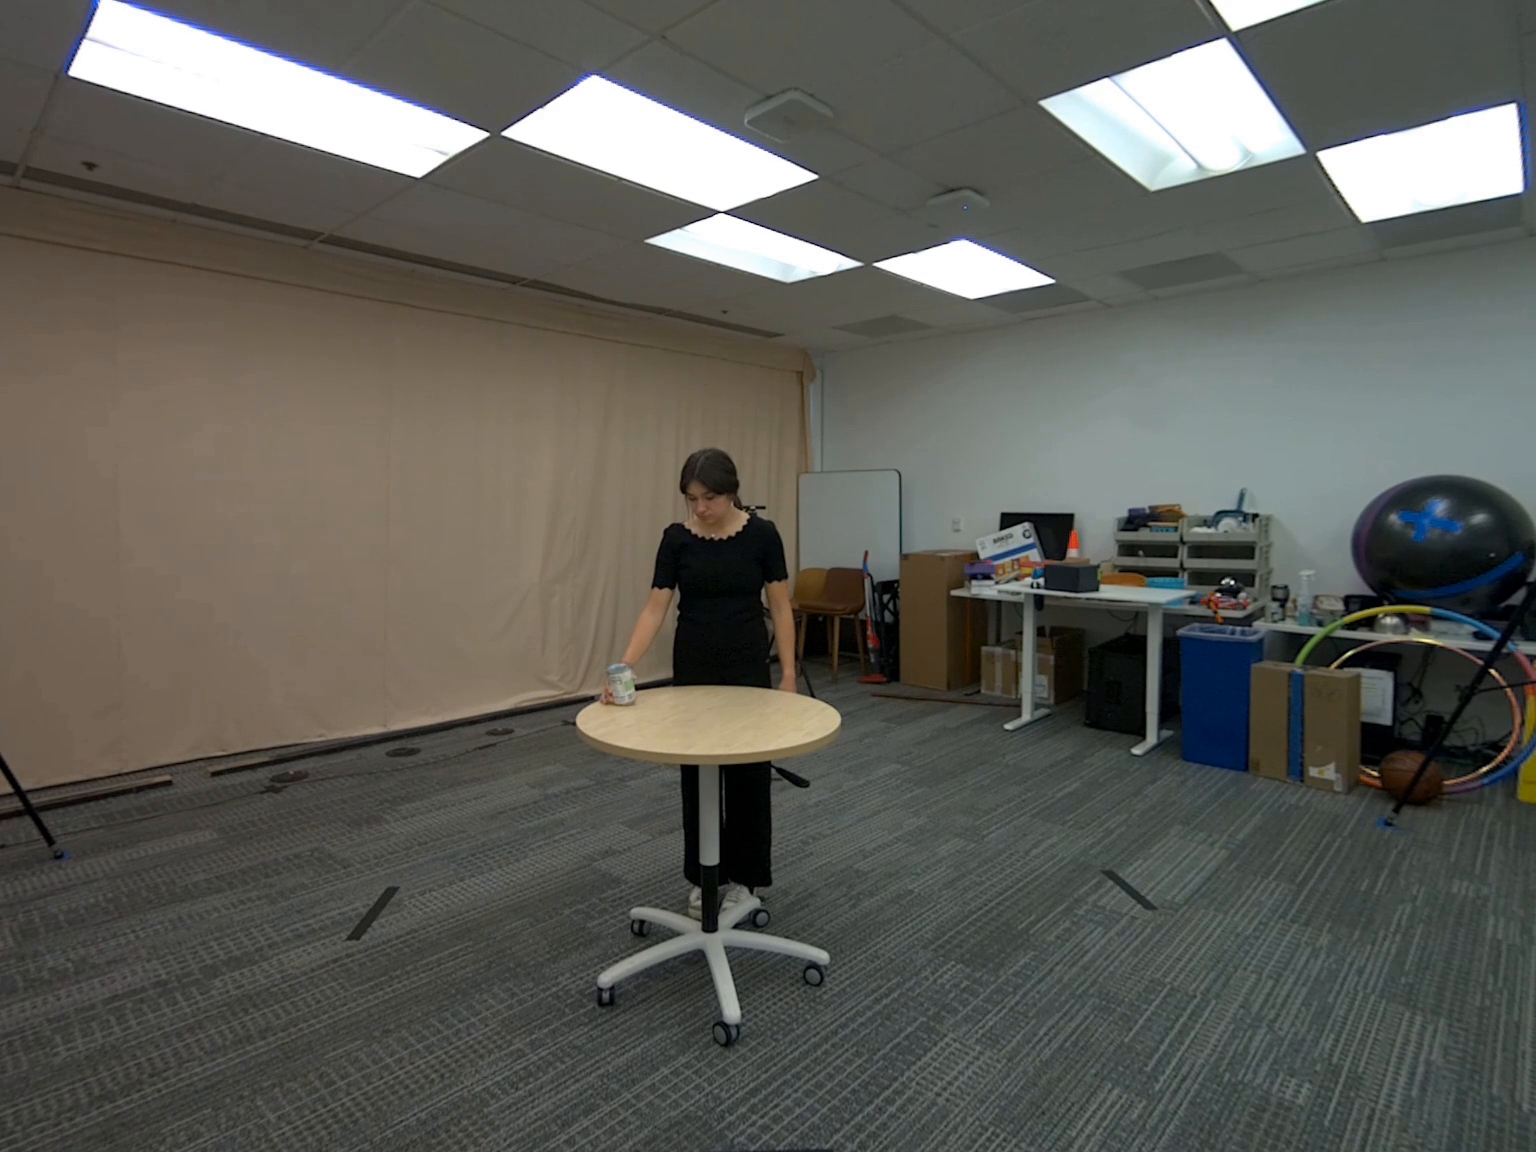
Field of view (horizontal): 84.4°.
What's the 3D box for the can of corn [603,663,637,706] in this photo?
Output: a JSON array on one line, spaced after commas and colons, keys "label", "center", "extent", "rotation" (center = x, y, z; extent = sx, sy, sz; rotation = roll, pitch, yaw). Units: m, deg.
[{"label": "can of corn", "center": [-0.447, 0.332, 2.570], "extent": [0.074, 0.110, 0.075], "rotation": [-6, 13, 0]}]
